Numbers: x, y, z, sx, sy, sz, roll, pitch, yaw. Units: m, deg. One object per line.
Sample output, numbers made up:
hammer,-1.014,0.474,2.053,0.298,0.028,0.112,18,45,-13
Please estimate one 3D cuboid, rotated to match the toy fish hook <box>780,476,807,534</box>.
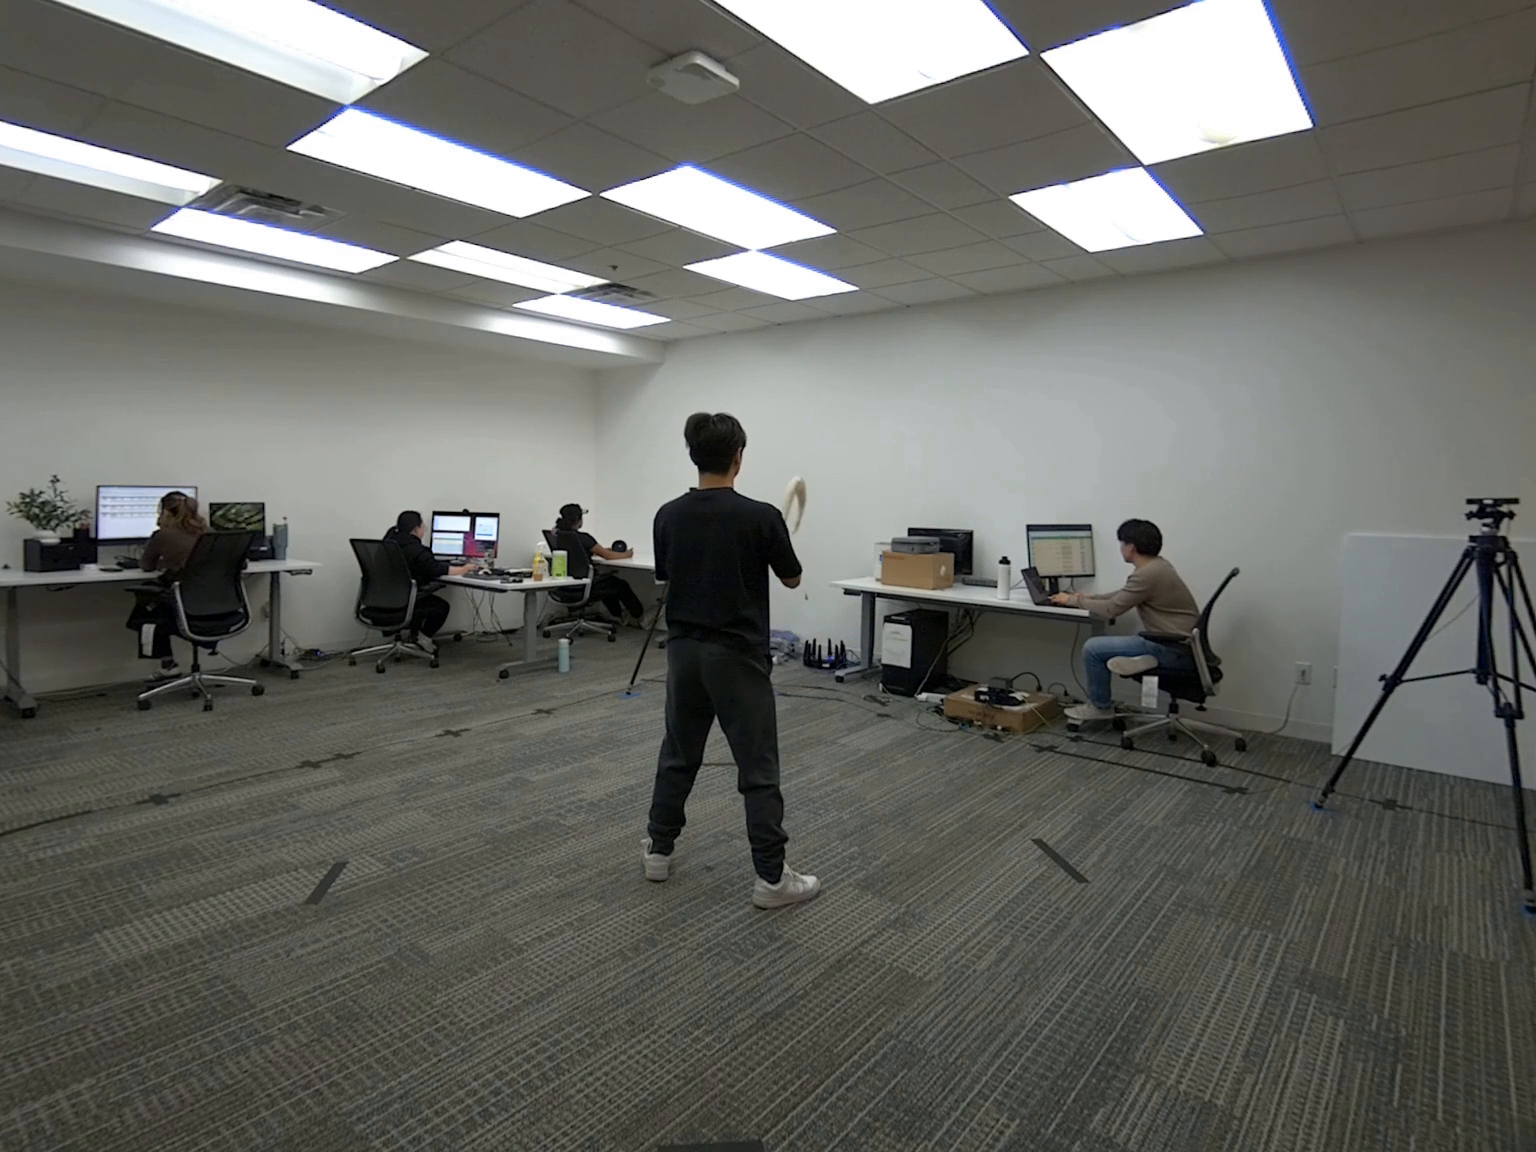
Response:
toy fish hook,0.054,-0.133,3.374,0.050,0.512,0.215,6,-33,27
